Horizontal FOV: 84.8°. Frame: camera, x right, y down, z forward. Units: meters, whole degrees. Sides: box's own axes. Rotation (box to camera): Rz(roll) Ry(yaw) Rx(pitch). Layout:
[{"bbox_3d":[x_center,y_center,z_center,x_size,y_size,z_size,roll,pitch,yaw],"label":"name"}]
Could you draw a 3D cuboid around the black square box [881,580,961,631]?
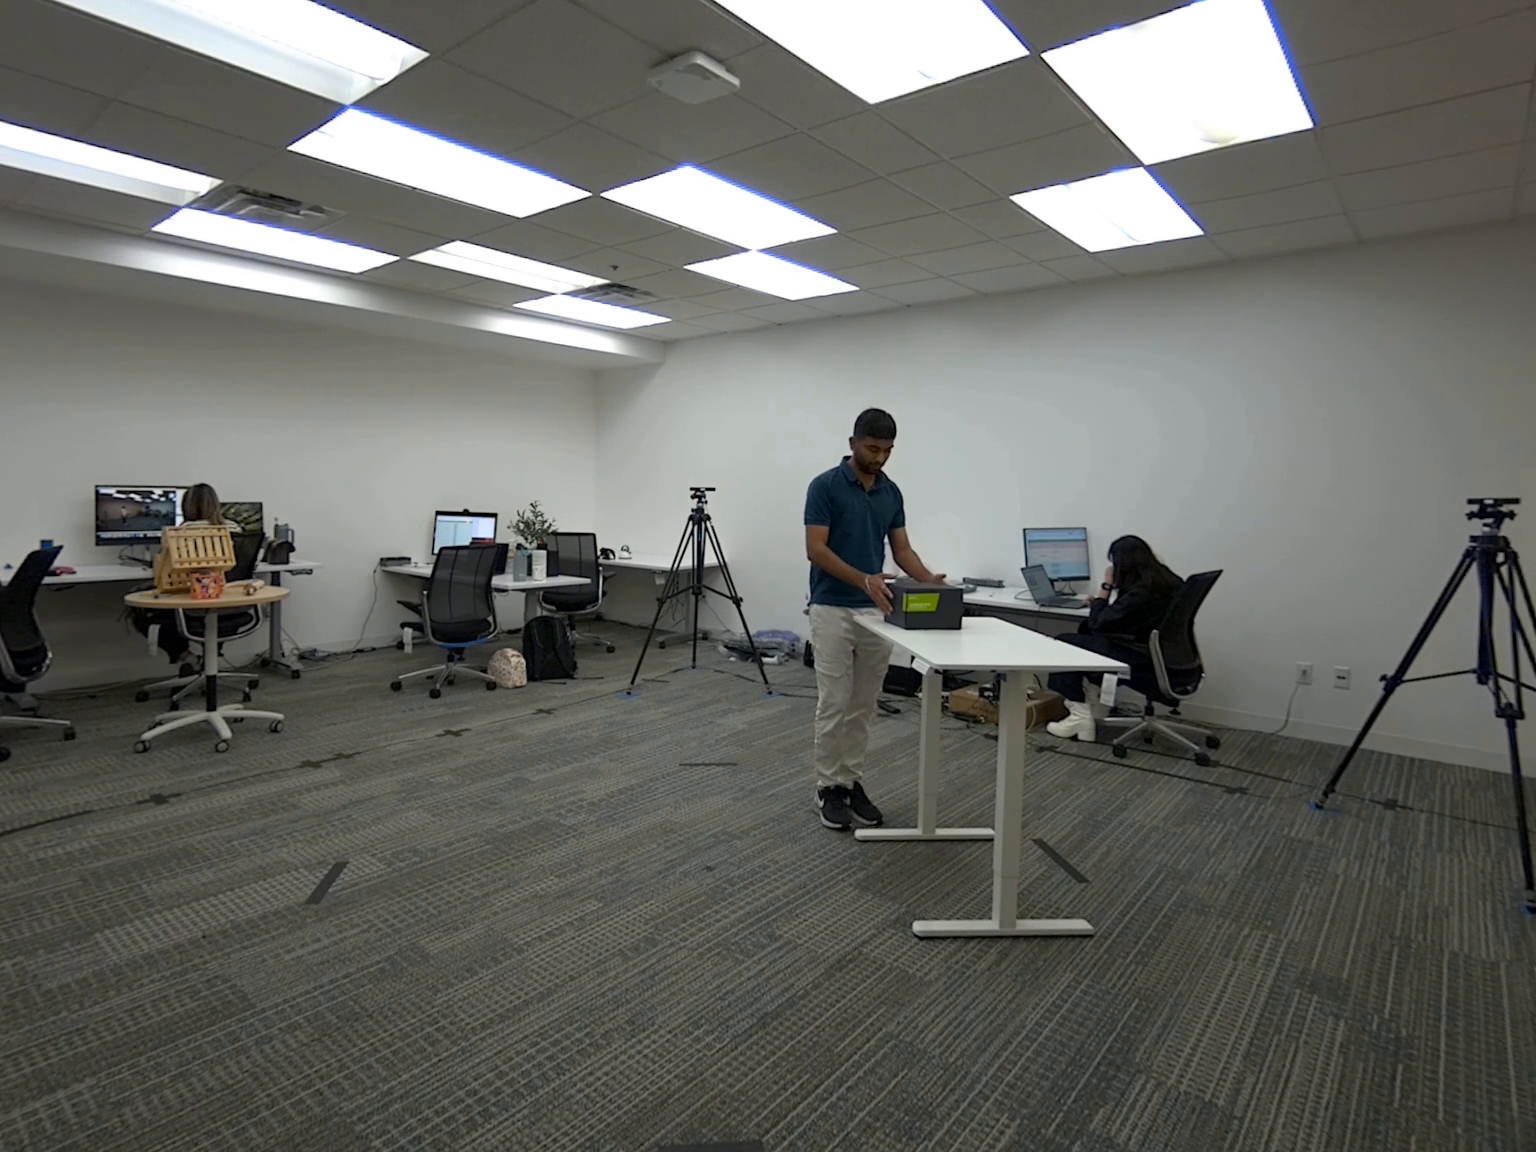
[{"bbox_3d":[0.587,0.110,3.253,0.226,0.155,0.219,2,4,-8],"label":"black square box"}]
